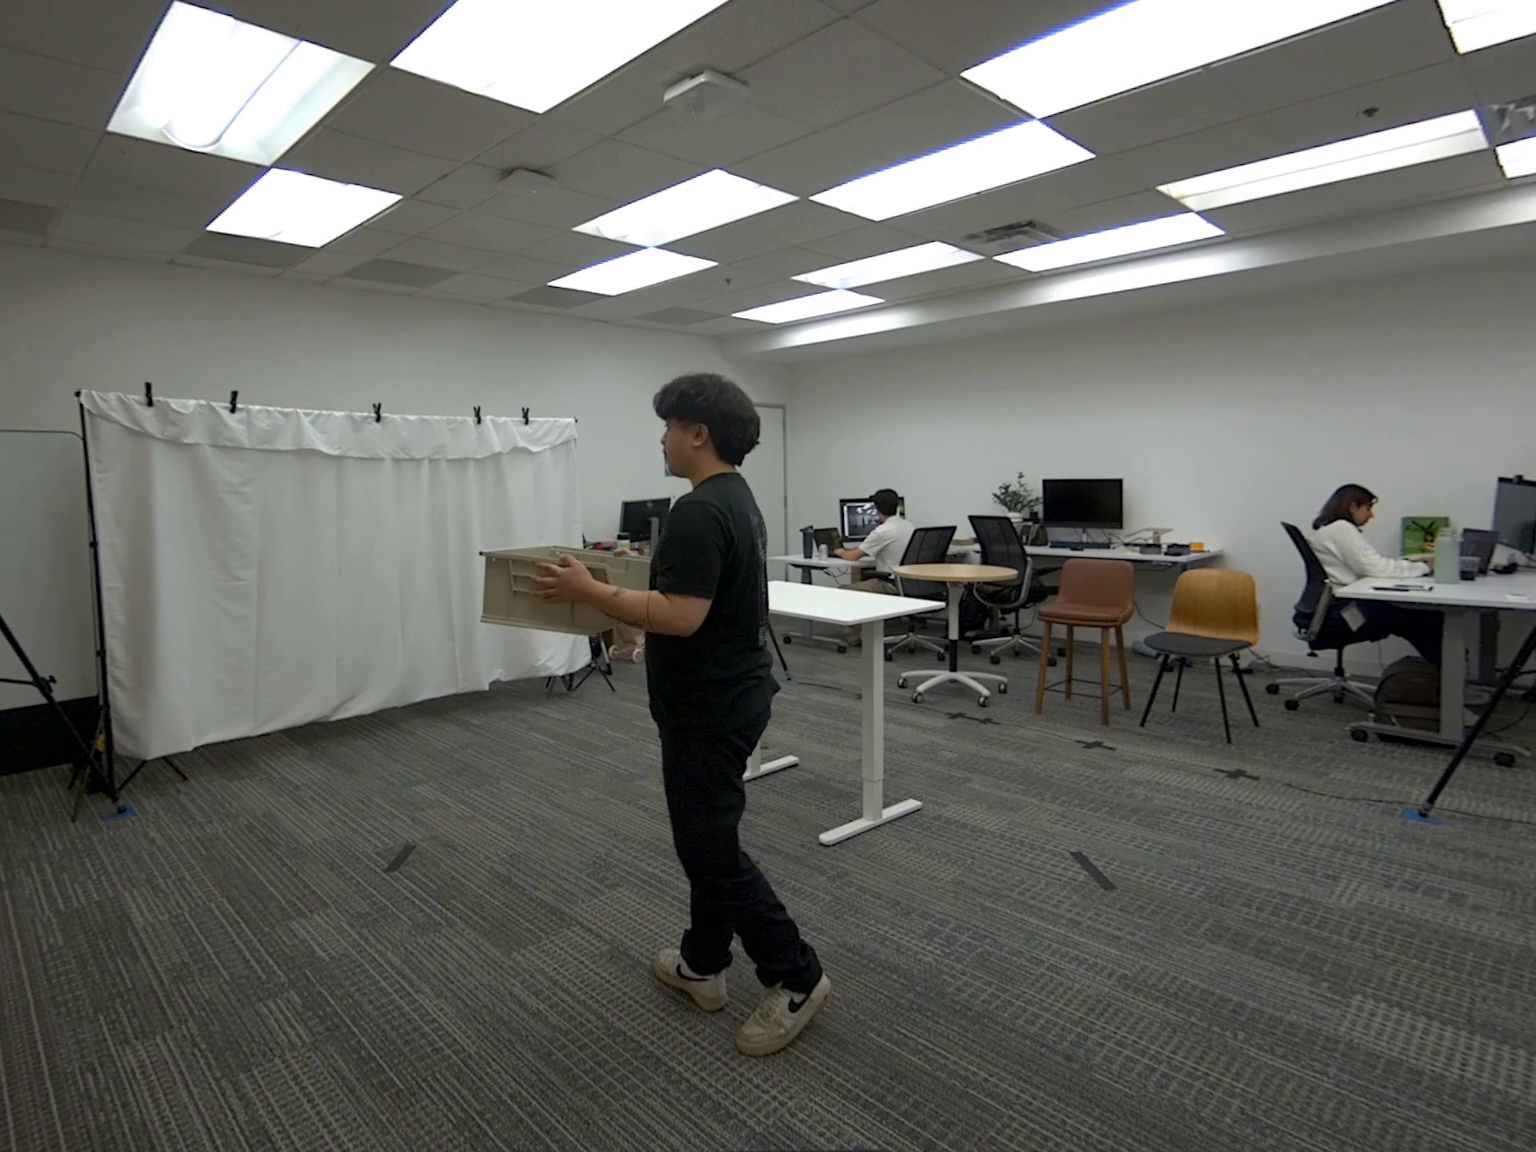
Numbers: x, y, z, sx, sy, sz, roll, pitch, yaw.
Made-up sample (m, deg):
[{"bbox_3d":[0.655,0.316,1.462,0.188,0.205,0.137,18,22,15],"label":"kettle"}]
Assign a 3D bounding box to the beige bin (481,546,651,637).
[{"bbox_3d":[-0.502,0.036,2.306,0.381,0.188,0.419,5,6,9],"label":"beige bin"}]
